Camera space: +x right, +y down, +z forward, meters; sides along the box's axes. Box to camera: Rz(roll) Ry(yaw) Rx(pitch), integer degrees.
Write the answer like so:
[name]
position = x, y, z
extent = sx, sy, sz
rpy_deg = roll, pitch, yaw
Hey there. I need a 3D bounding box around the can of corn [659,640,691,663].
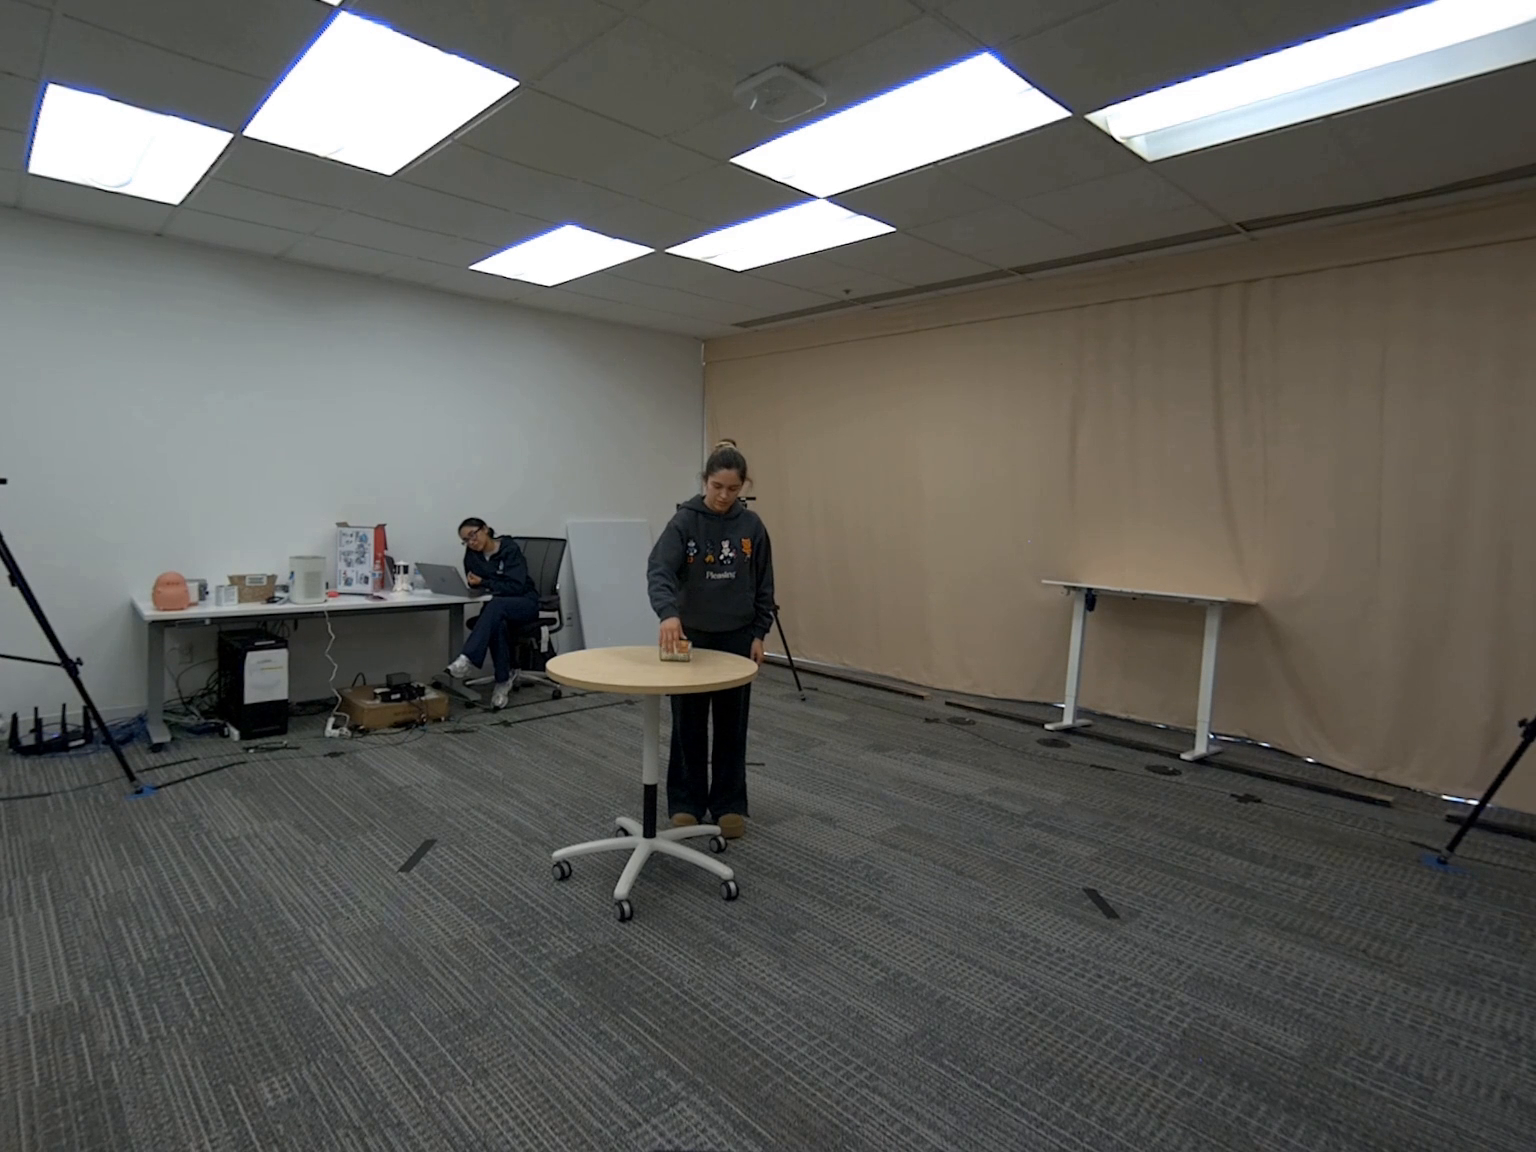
[can of corn]
position = -0.360, 0.278, 3.154
extent = 0.112, 0.074, 0.074
rpy_deg = -1, 5, 7
